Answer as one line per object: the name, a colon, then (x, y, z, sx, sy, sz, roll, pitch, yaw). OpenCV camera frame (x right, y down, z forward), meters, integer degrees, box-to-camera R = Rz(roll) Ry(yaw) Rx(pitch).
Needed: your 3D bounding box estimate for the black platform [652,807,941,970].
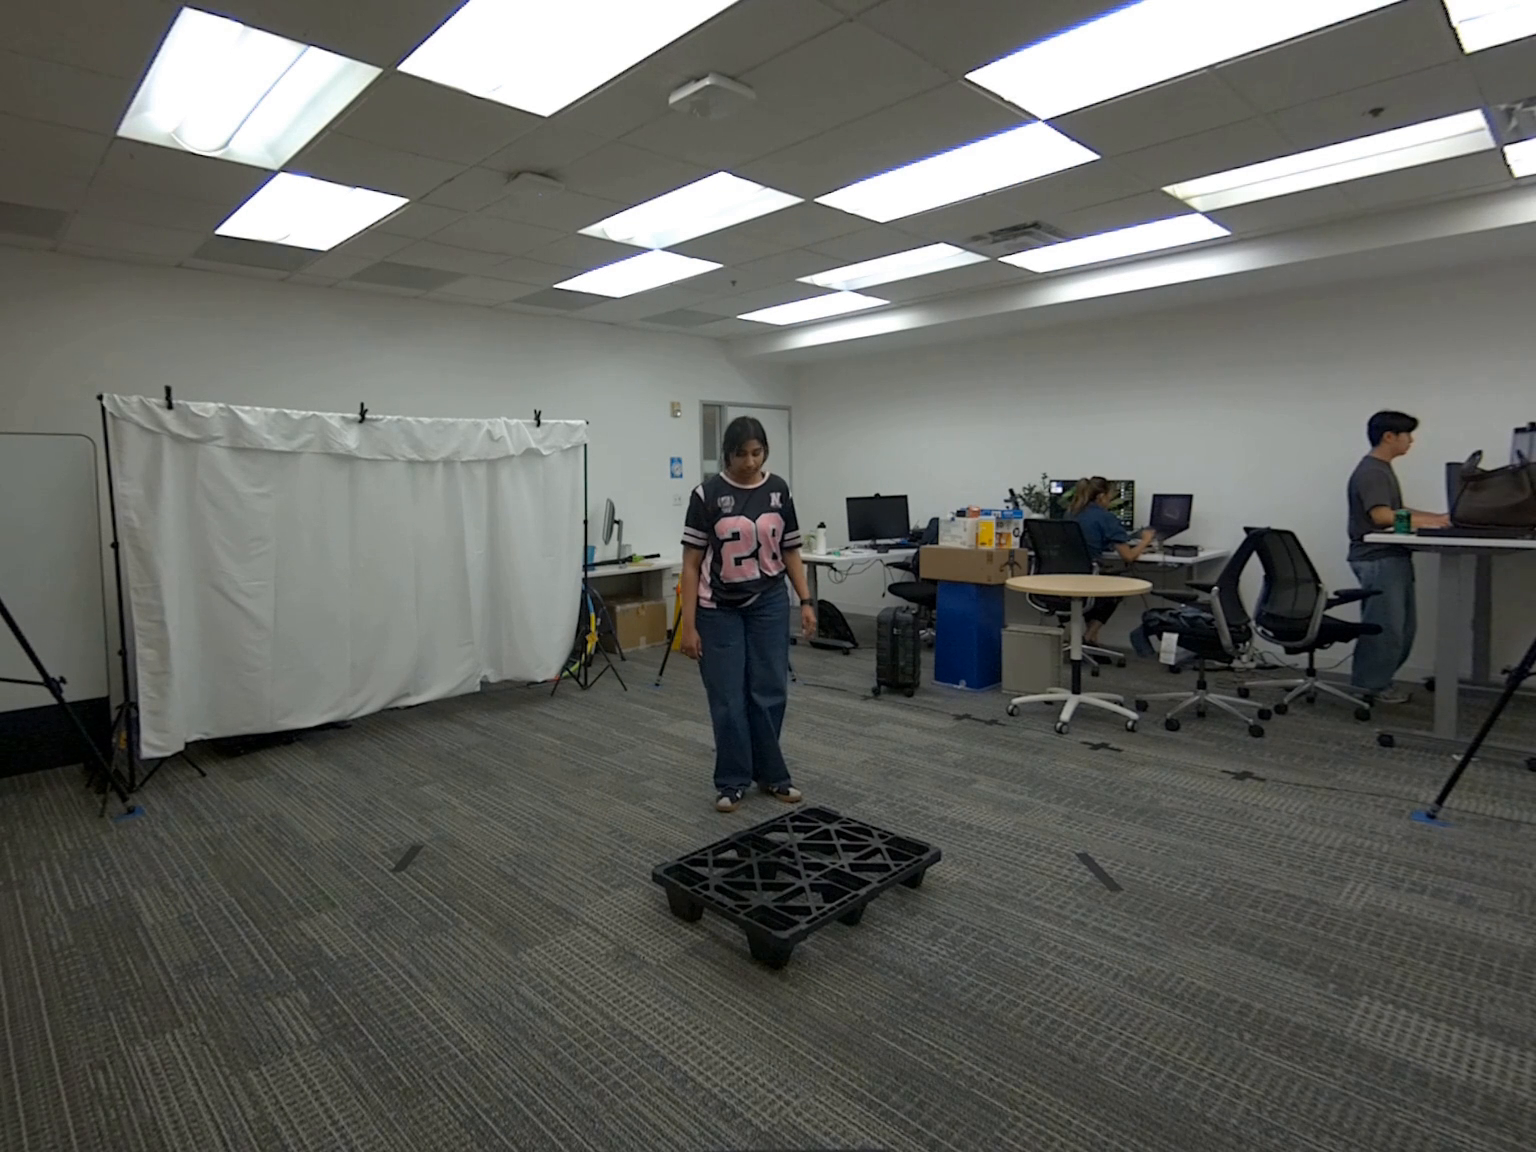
black platform: (0.110, 1.009, 2.845, 0.785, 0.142, 0.624, -8, 10, -44)
